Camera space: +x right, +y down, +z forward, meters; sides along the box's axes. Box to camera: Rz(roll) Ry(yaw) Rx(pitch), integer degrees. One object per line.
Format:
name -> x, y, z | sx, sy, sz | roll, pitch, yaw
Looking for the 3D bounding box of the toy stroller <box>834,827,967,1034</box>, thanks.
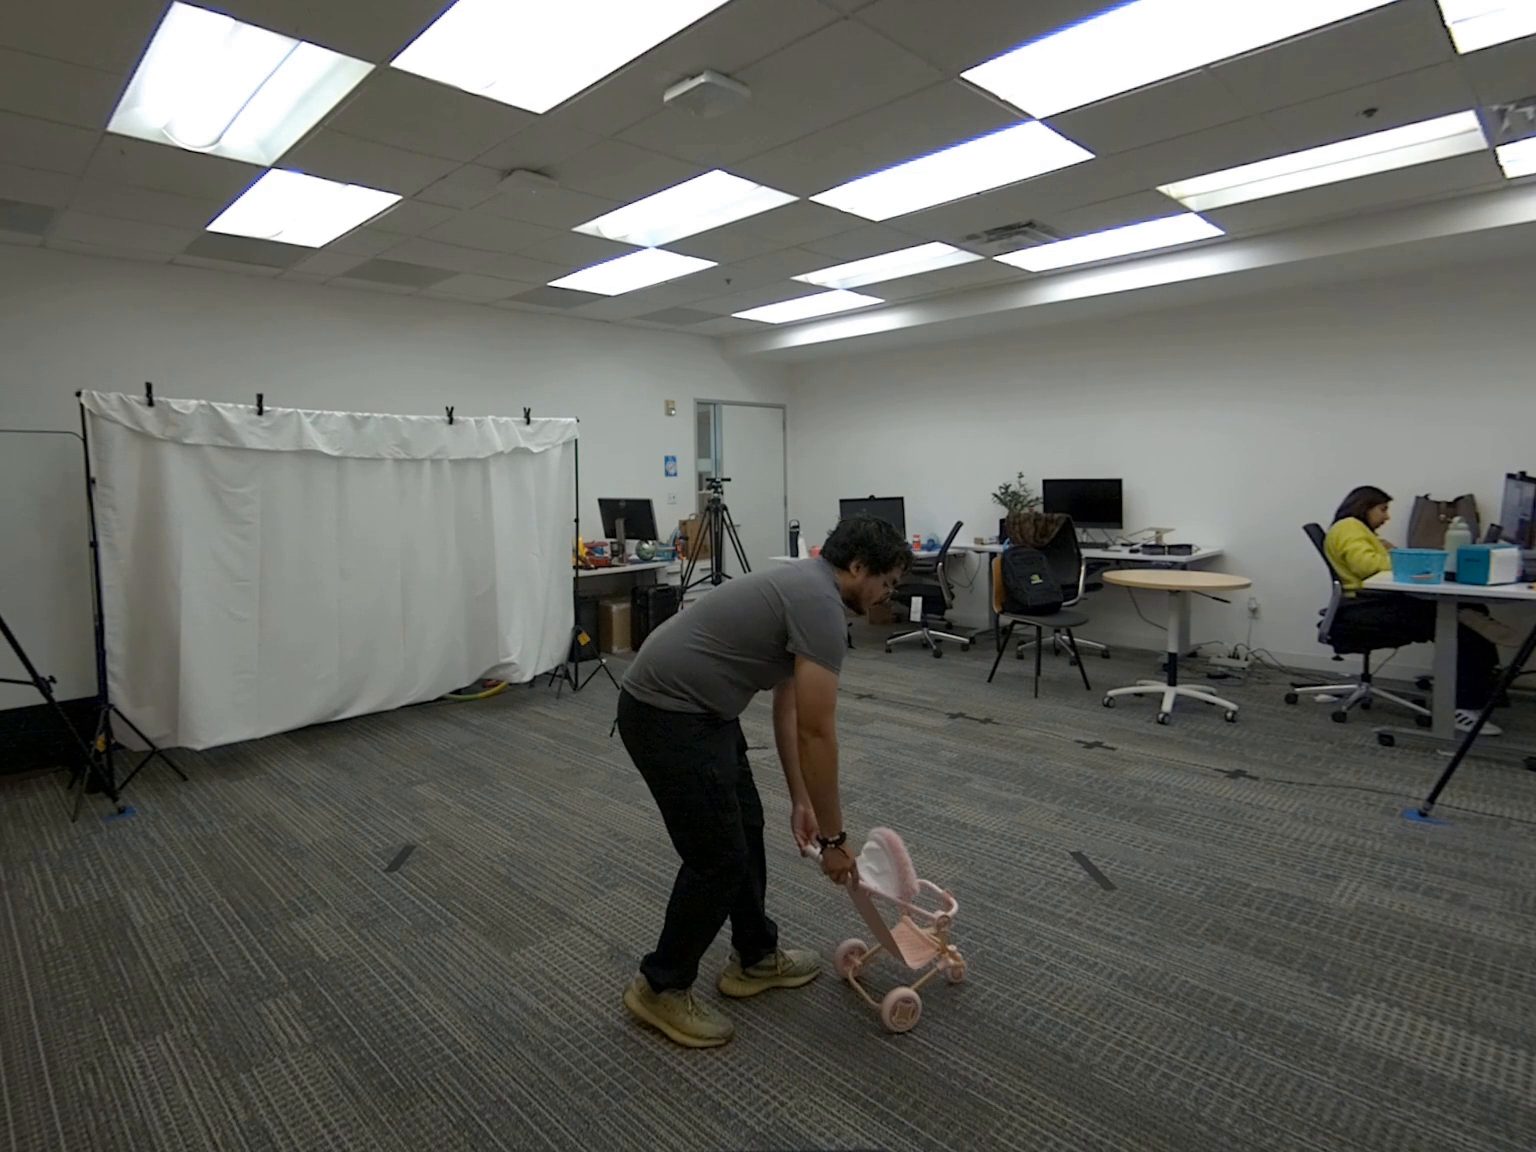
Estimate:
toy stroller -> 0.346, 0.905, 2.280 | 0.338, 0.530, 0.287 | -19, 9, -16
